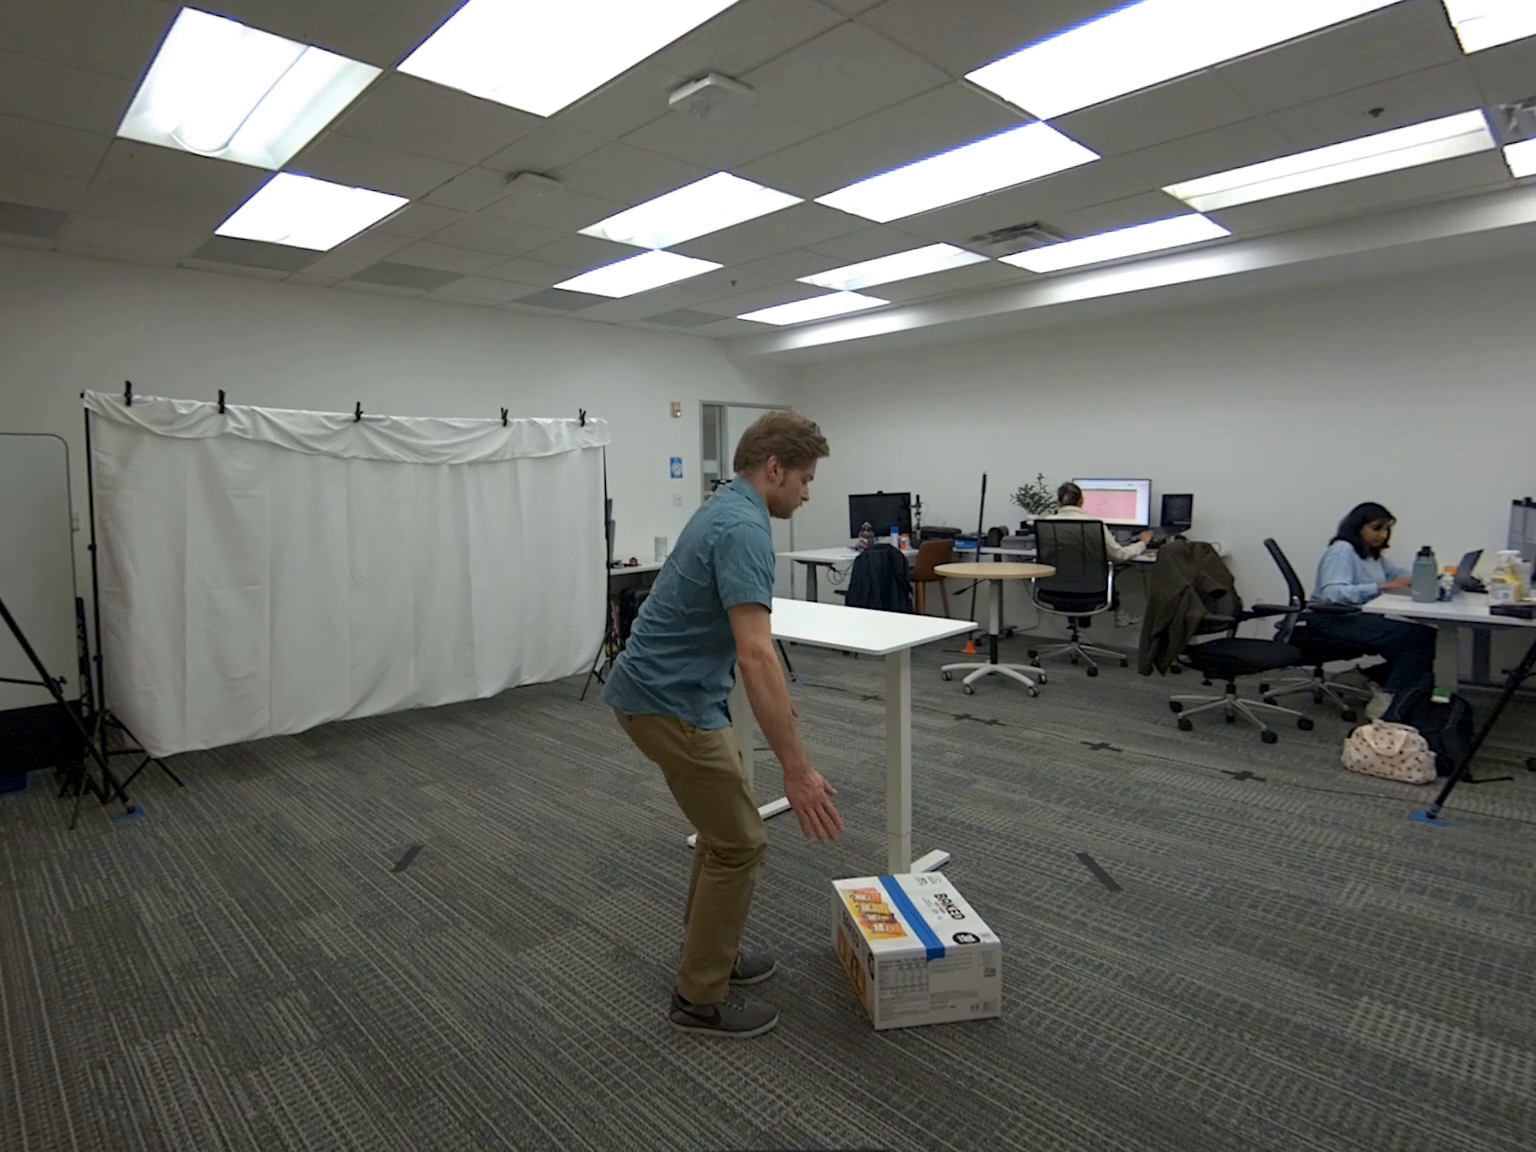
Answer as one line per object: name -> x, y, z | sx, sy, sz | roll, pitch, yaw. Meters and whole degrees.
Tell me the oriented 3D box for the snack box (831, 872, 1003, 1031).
snack box -> 0.401, 1.024, 2.368 | 0.337, 0.205, 0.410 | -2, 6, -10
